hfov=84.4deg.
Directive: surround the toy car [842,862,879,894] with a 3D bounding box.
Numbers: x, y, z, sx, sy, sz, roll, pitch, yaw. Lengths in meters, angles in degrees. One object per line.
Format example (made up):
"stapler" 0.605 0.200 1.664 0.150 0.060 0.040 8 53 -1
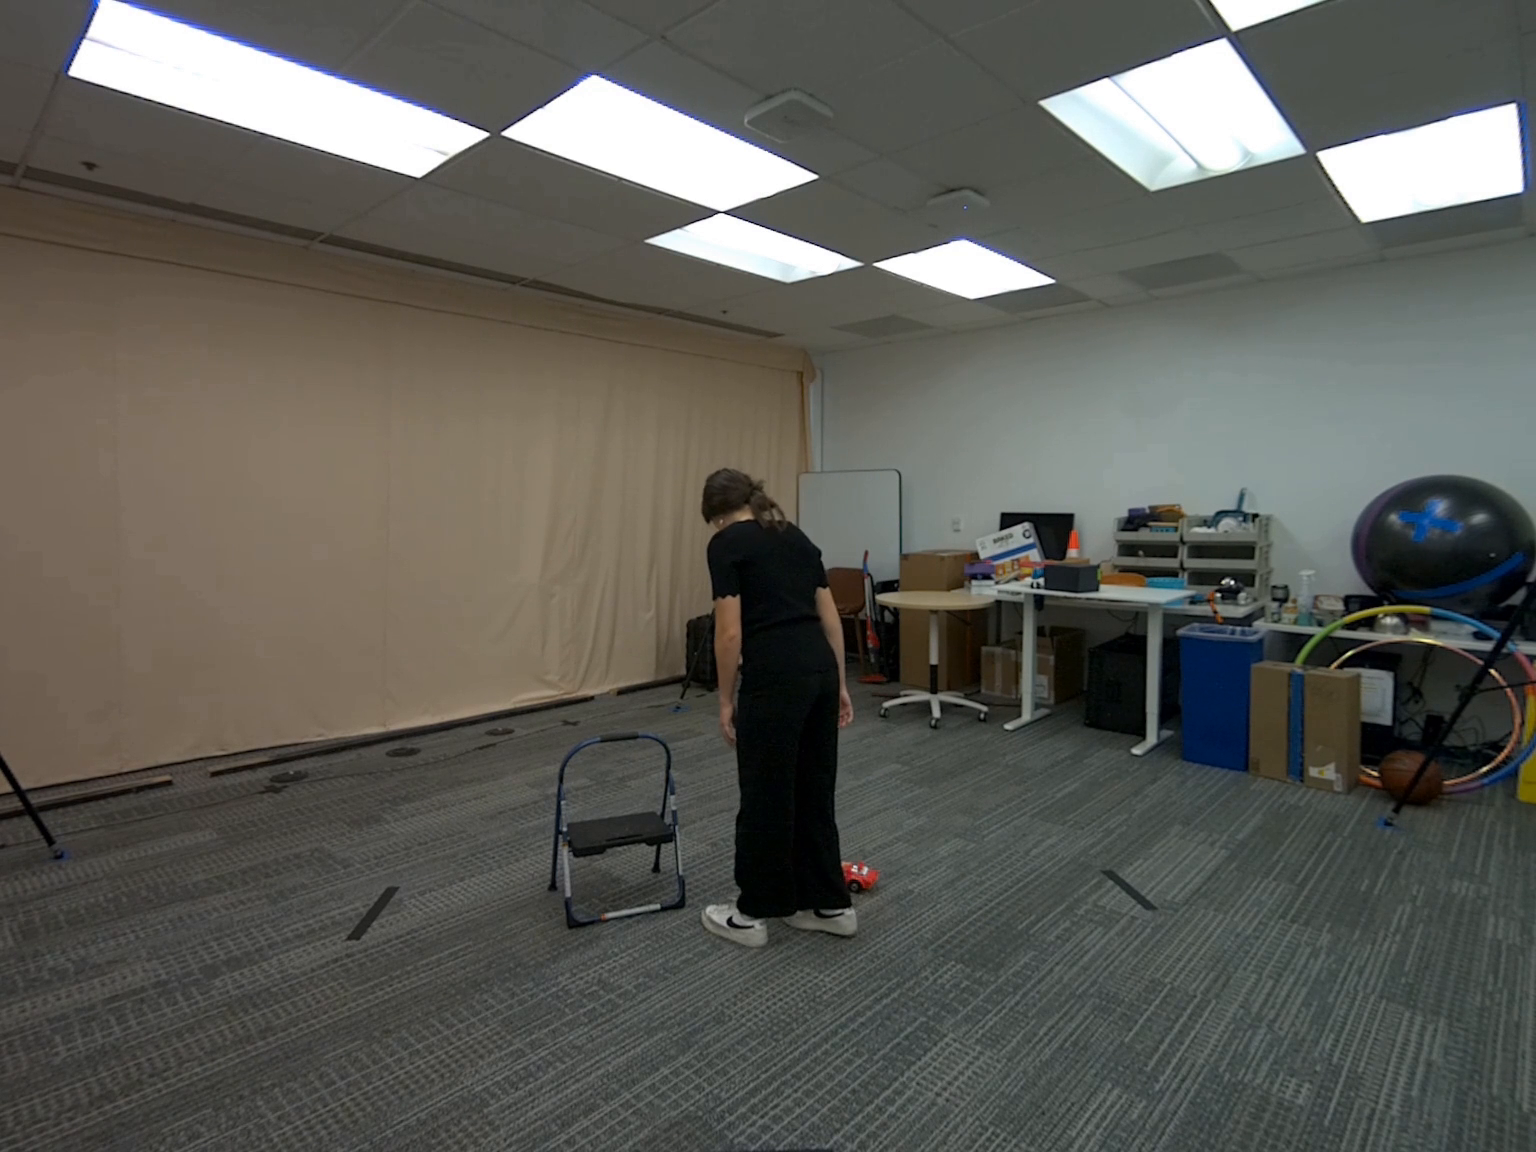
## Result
"toy car" 0.286 1.105 3.085 0.259 0.083 0.128 -9 -1 18
